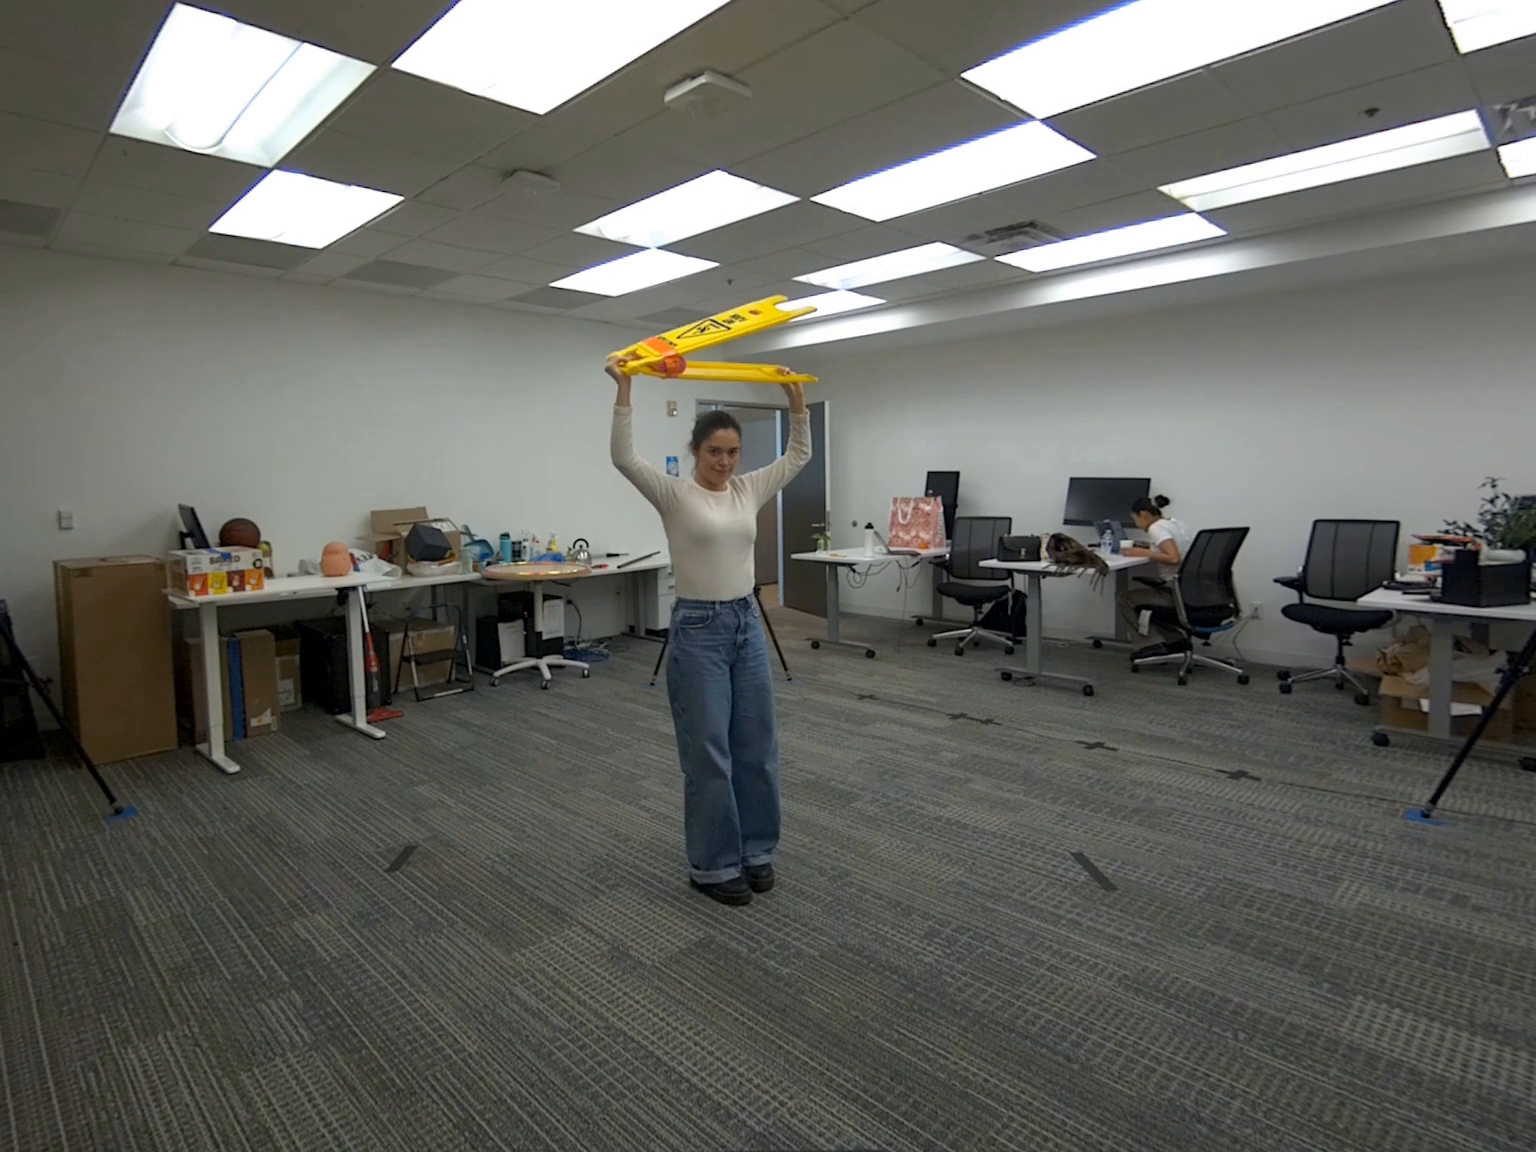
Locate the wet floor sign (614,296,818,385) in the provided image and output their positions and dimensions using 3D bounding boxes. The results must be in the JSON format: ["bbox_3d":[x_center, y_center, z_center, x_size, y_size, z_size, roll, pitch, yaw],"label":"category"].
[{"bbox_3d":[-0.188,-0.724,2.759,0.636,0.283,0.293,-14,29,-23],"label":"wet floor sign"}]
